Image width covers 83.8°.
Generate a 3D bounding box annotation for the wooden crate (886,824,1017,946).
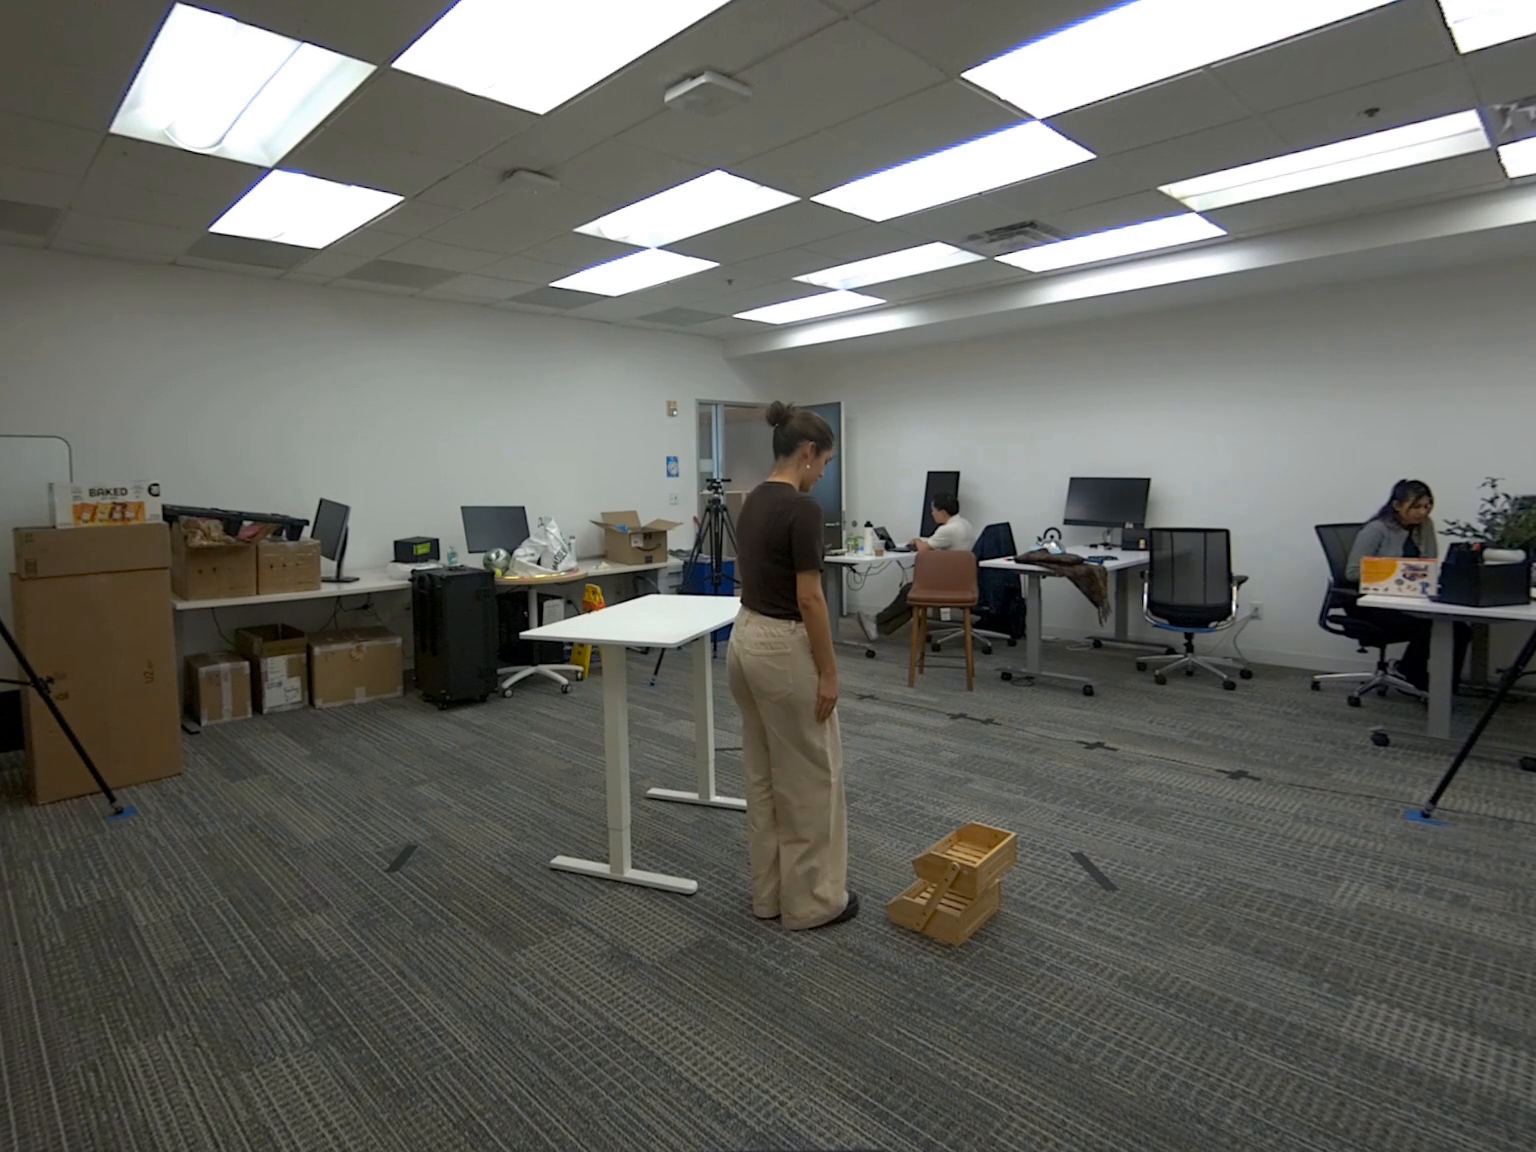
[{"bbox_3d":[0.577,0.942,2.692,0.311,0.272,0.316,4,7,39],"label":"wooden crate"}]
